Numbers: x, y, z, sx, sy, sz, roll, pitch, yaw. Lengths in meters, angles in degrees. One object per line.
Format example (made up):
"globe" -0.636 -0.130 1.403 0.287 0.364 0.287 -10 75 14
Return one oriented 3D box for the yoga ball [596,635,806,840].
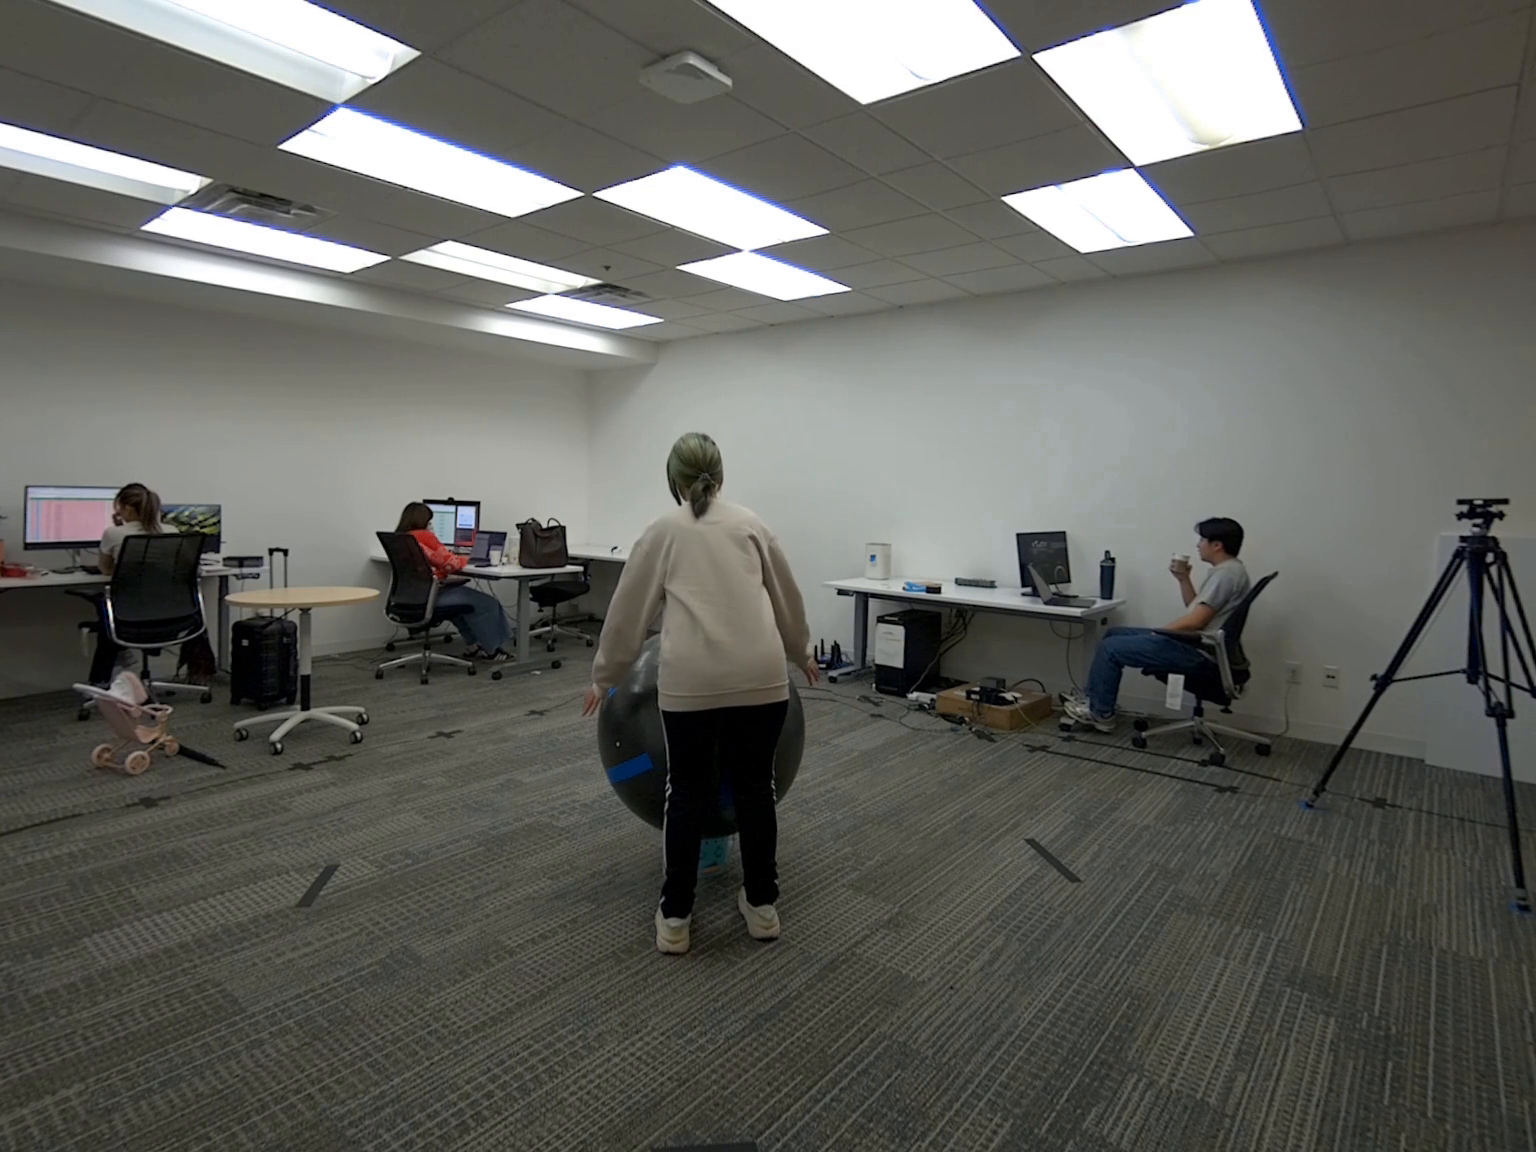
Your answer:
"yoga ball" -0.246 0.556 3.112 0.757 0.756 0.762 1 4 -2
